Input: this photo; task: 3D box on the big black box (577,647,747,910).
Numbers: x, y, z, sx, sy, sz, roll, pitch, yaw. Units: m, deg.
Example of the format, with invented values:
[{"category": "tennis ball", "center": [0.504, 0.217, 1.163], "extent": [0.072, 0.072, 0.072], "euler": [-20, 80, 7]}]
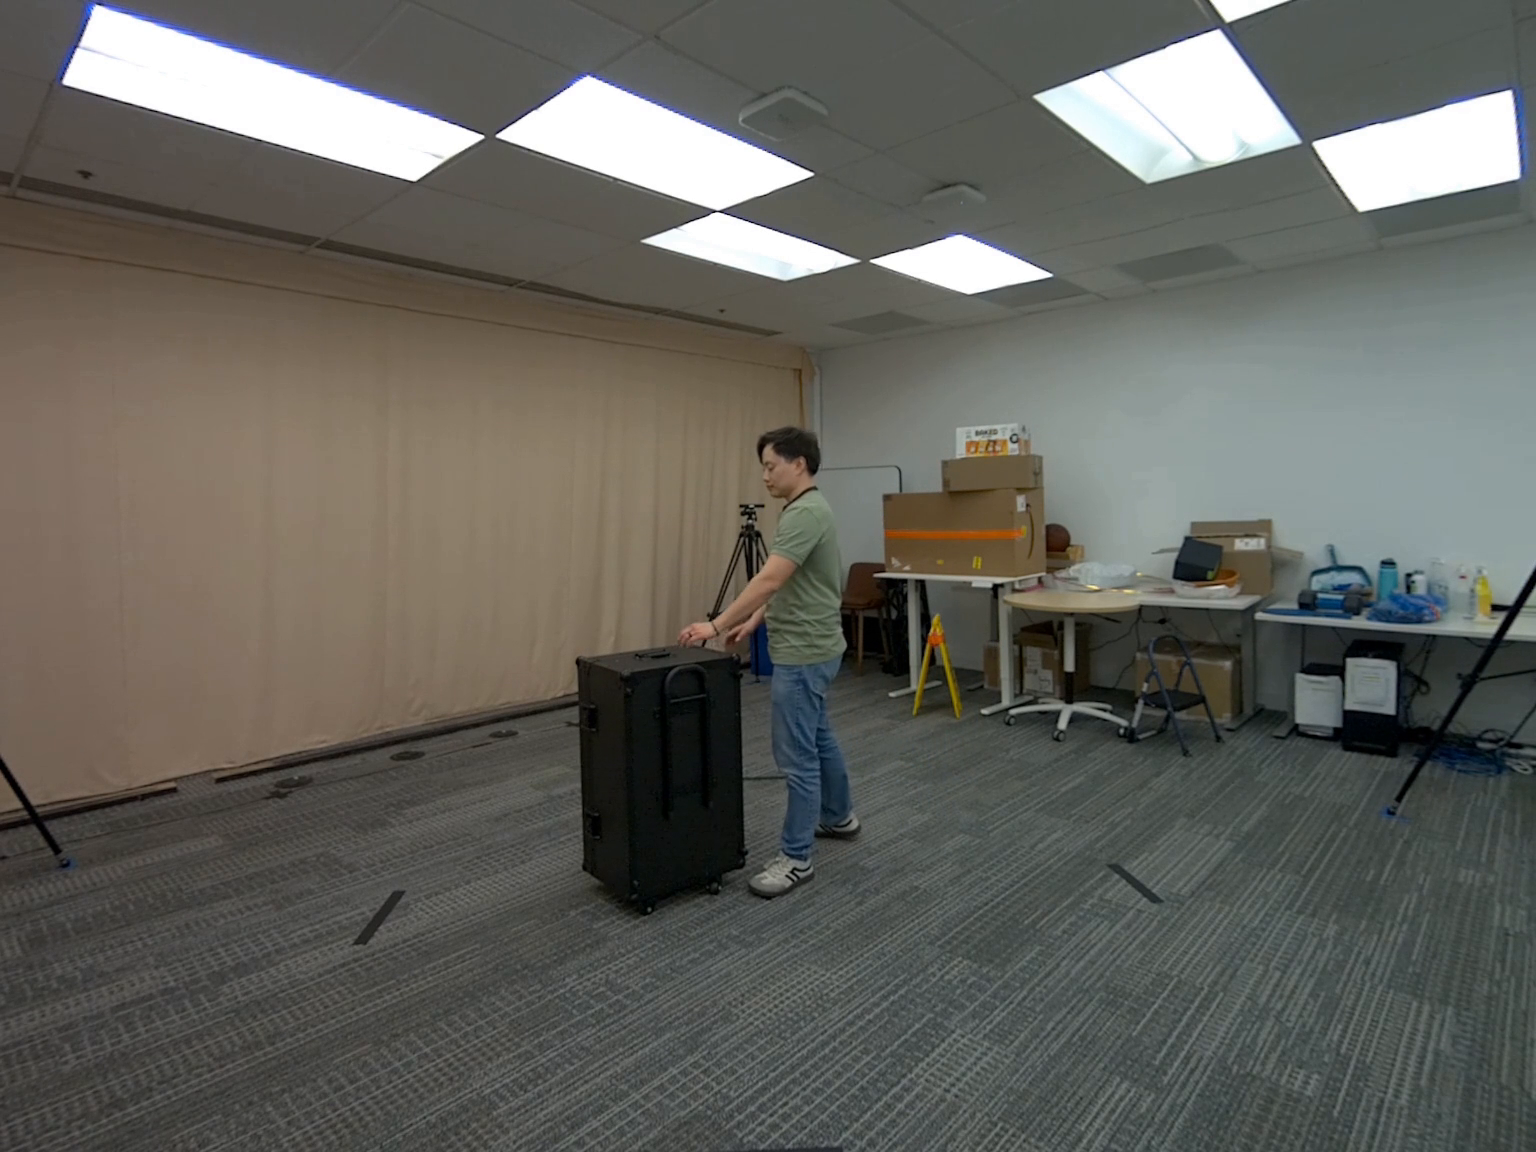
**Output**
[{"category": "big black box", "center": [-0.378, 0.719, 3.050], "extent": [0.506, 0.859, 0.409], "euler": [-4, 5, -36]}]
